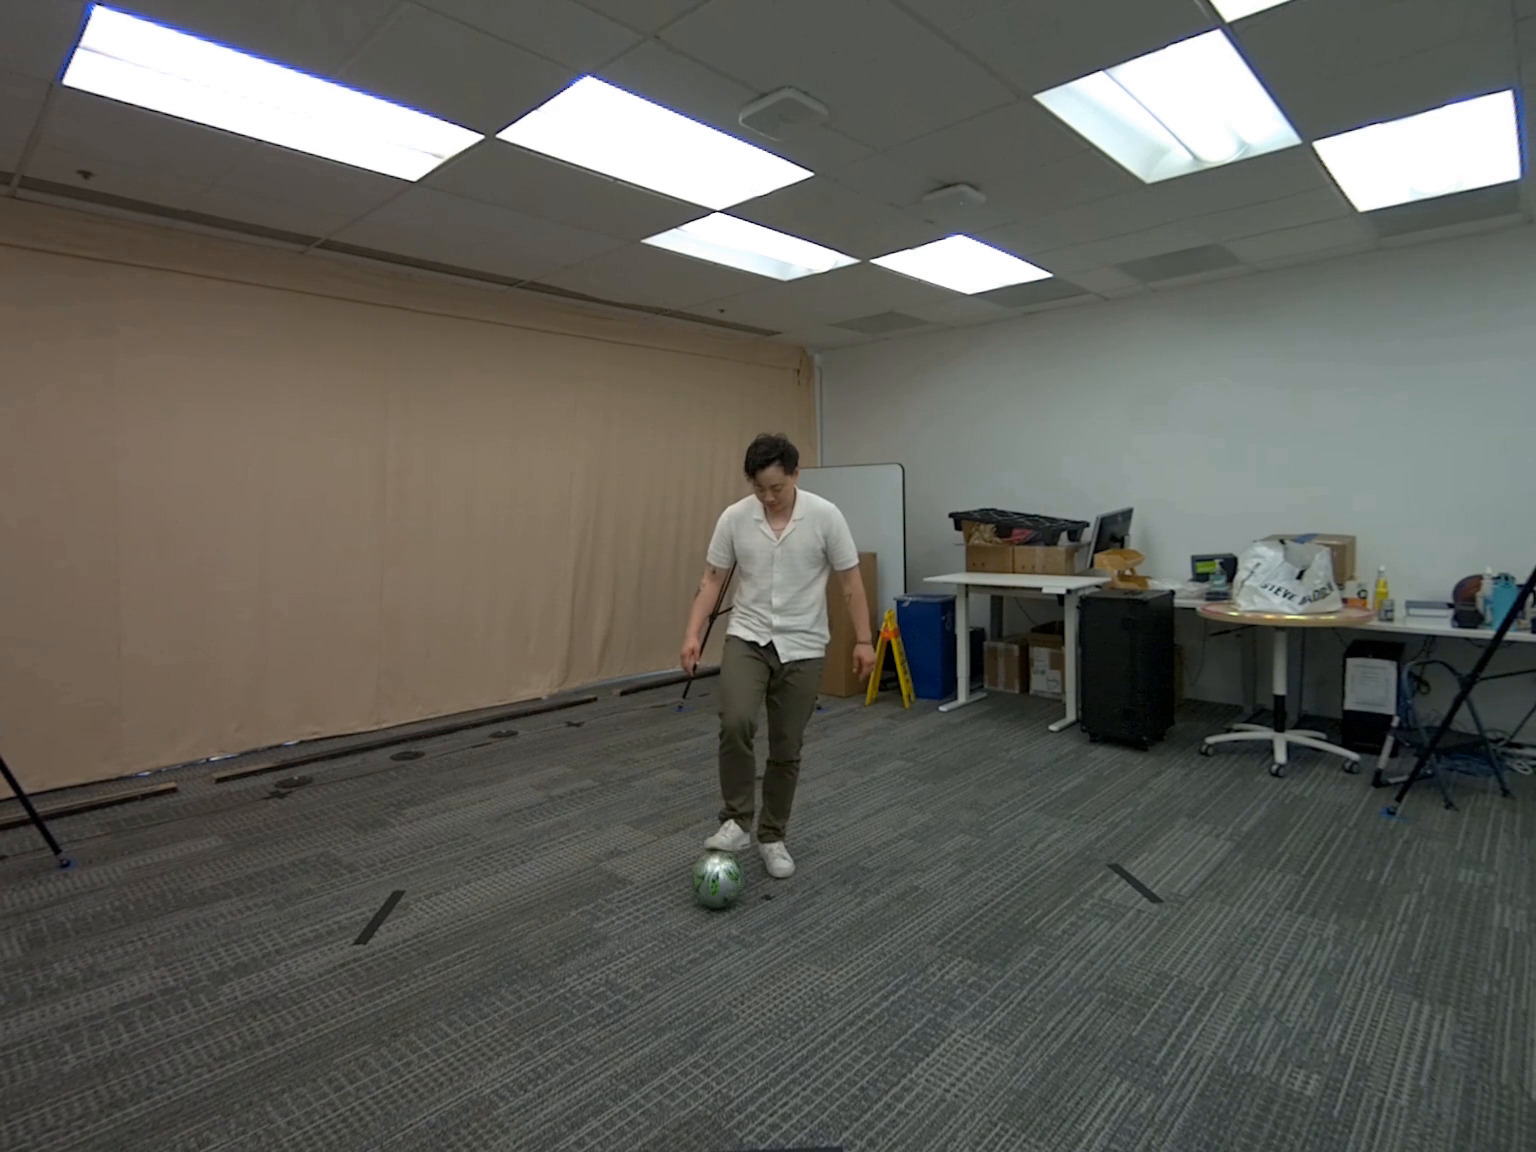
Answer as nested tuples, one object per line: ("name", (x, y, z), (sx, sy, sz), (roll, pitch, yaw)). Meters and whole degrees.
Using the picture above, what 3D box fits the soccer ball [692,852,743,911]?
("soccer ball", (-0.179, 1.054, 2.945), (0.187, 0.187, 0.188), (-1, 4, -2))
